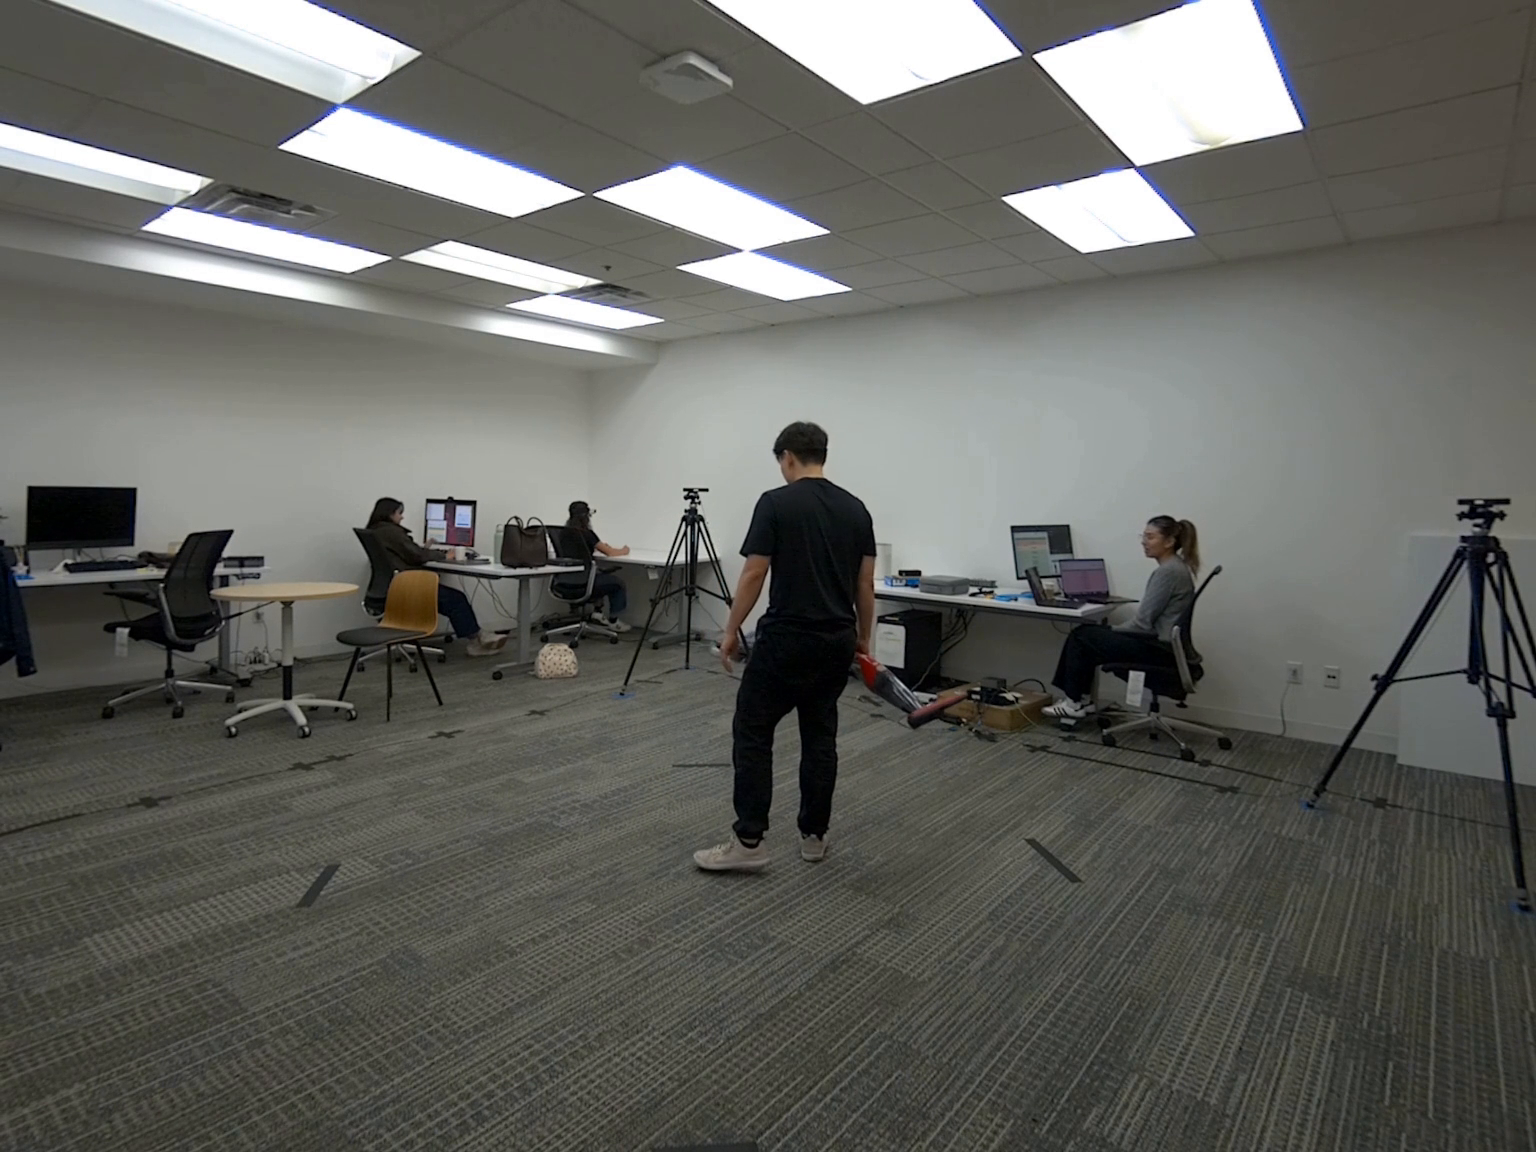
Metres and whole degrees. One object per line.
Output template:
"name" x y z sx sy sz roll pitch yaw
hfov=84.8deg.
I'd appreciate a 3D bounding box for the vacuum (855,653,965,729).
"vacuum" 0.303 0.331 3.471 0.249 0.140 1.090 -21 27 -24
